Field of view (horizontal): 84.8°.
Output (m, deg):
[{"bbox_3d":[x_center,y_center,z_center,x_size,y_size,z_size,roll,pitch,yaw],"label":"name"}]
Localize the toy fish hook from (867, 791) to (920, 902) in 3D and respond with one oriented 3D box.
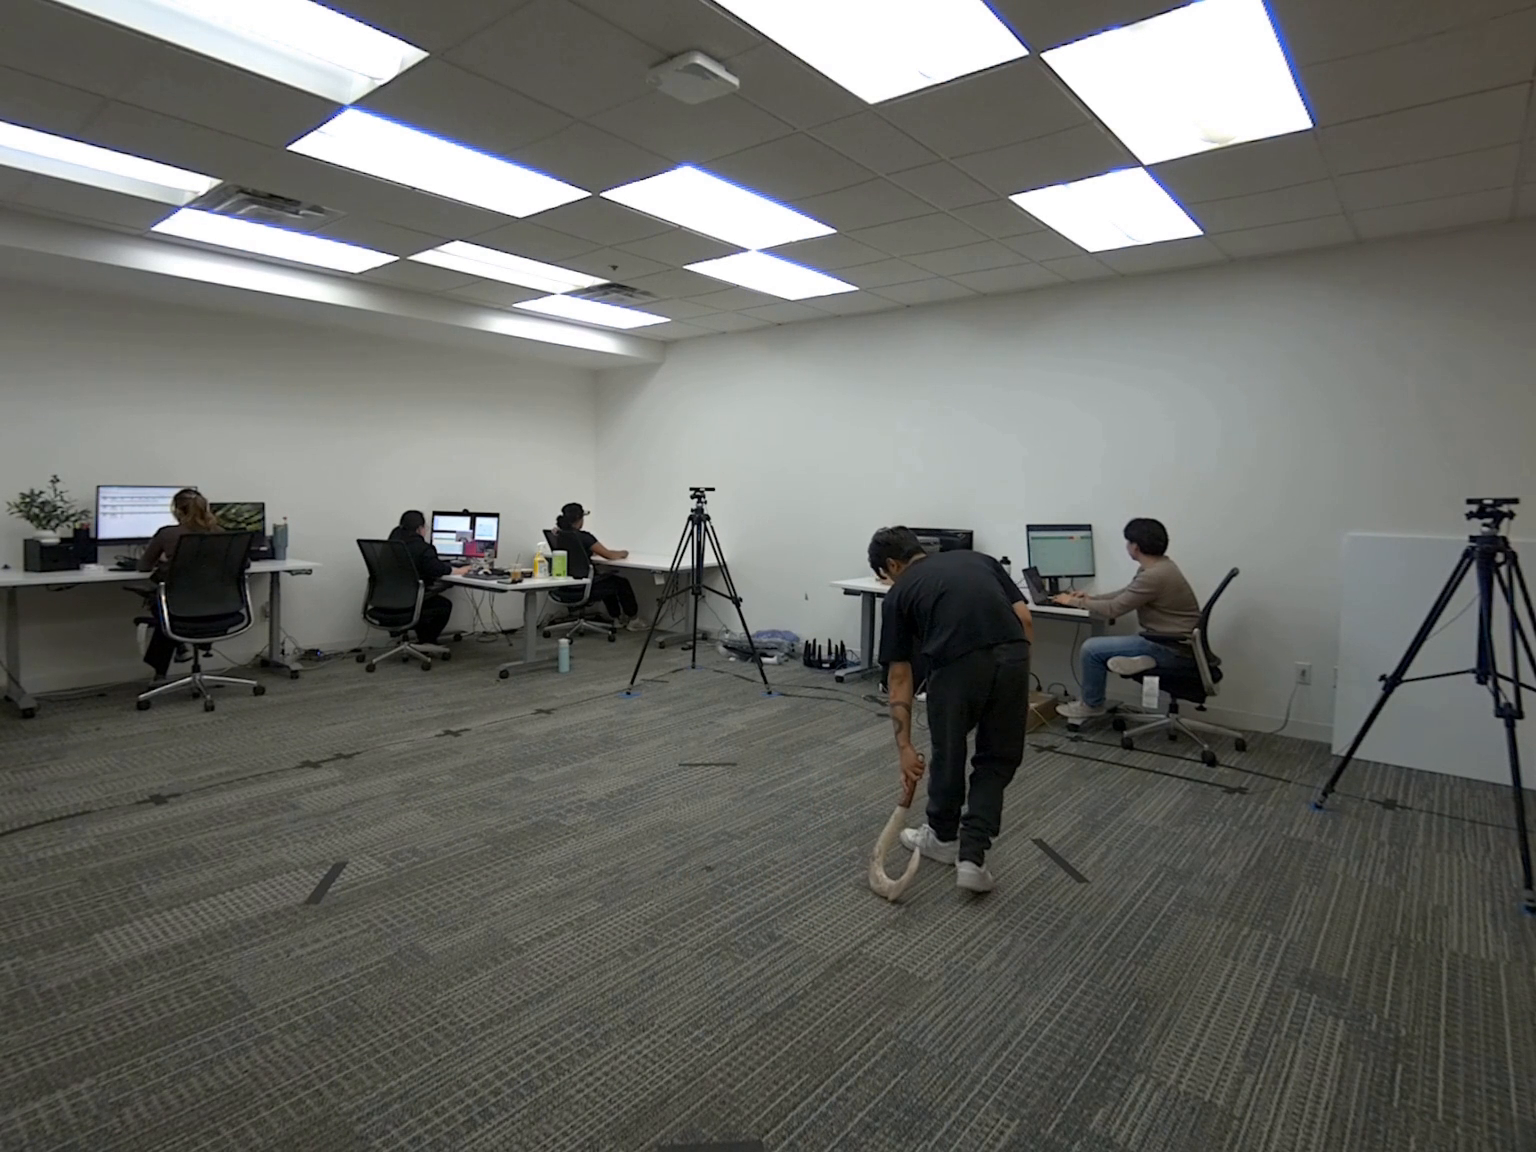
[{"bbox_3d":[0.484,0.874,2.994,0.046,0.510,0.231,31,-18,-30],"label":"toy fish hook"}]
